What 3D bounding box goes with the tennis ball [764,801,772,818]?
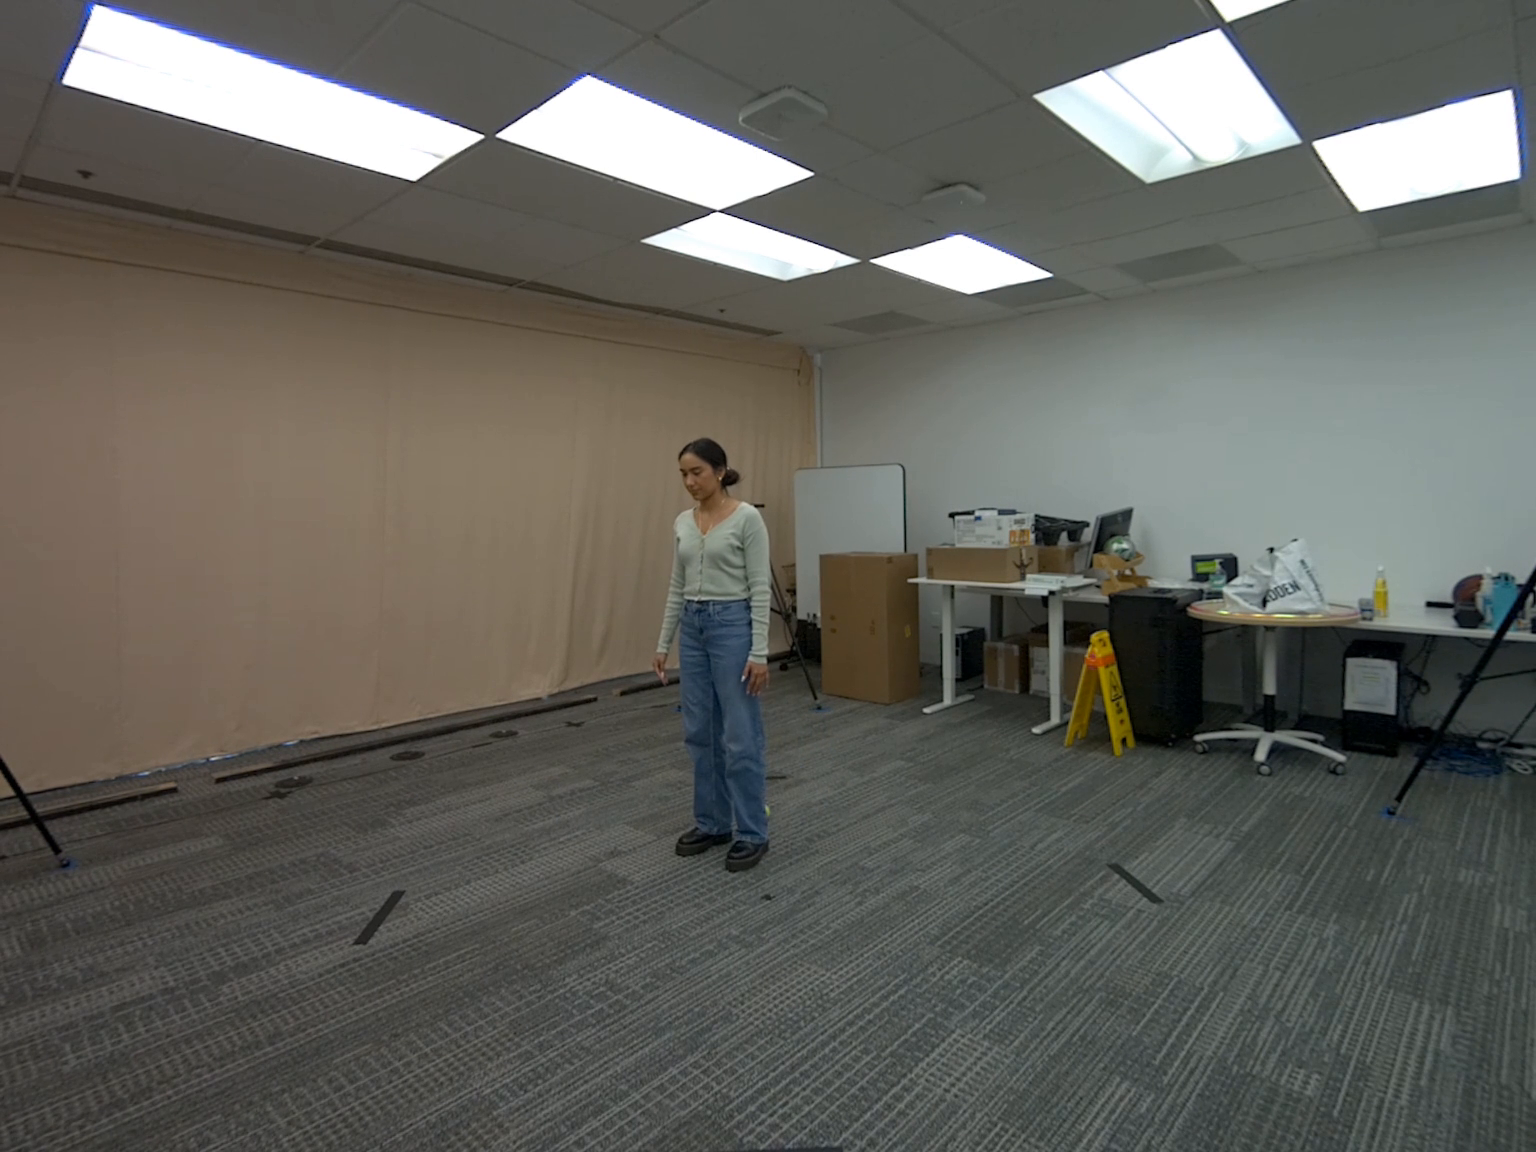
[{"bbox_3d":[-0.024,1.026,3.712,0.066,0.066,0.067,-1,4,-2],"label":"tennis ball"}]
